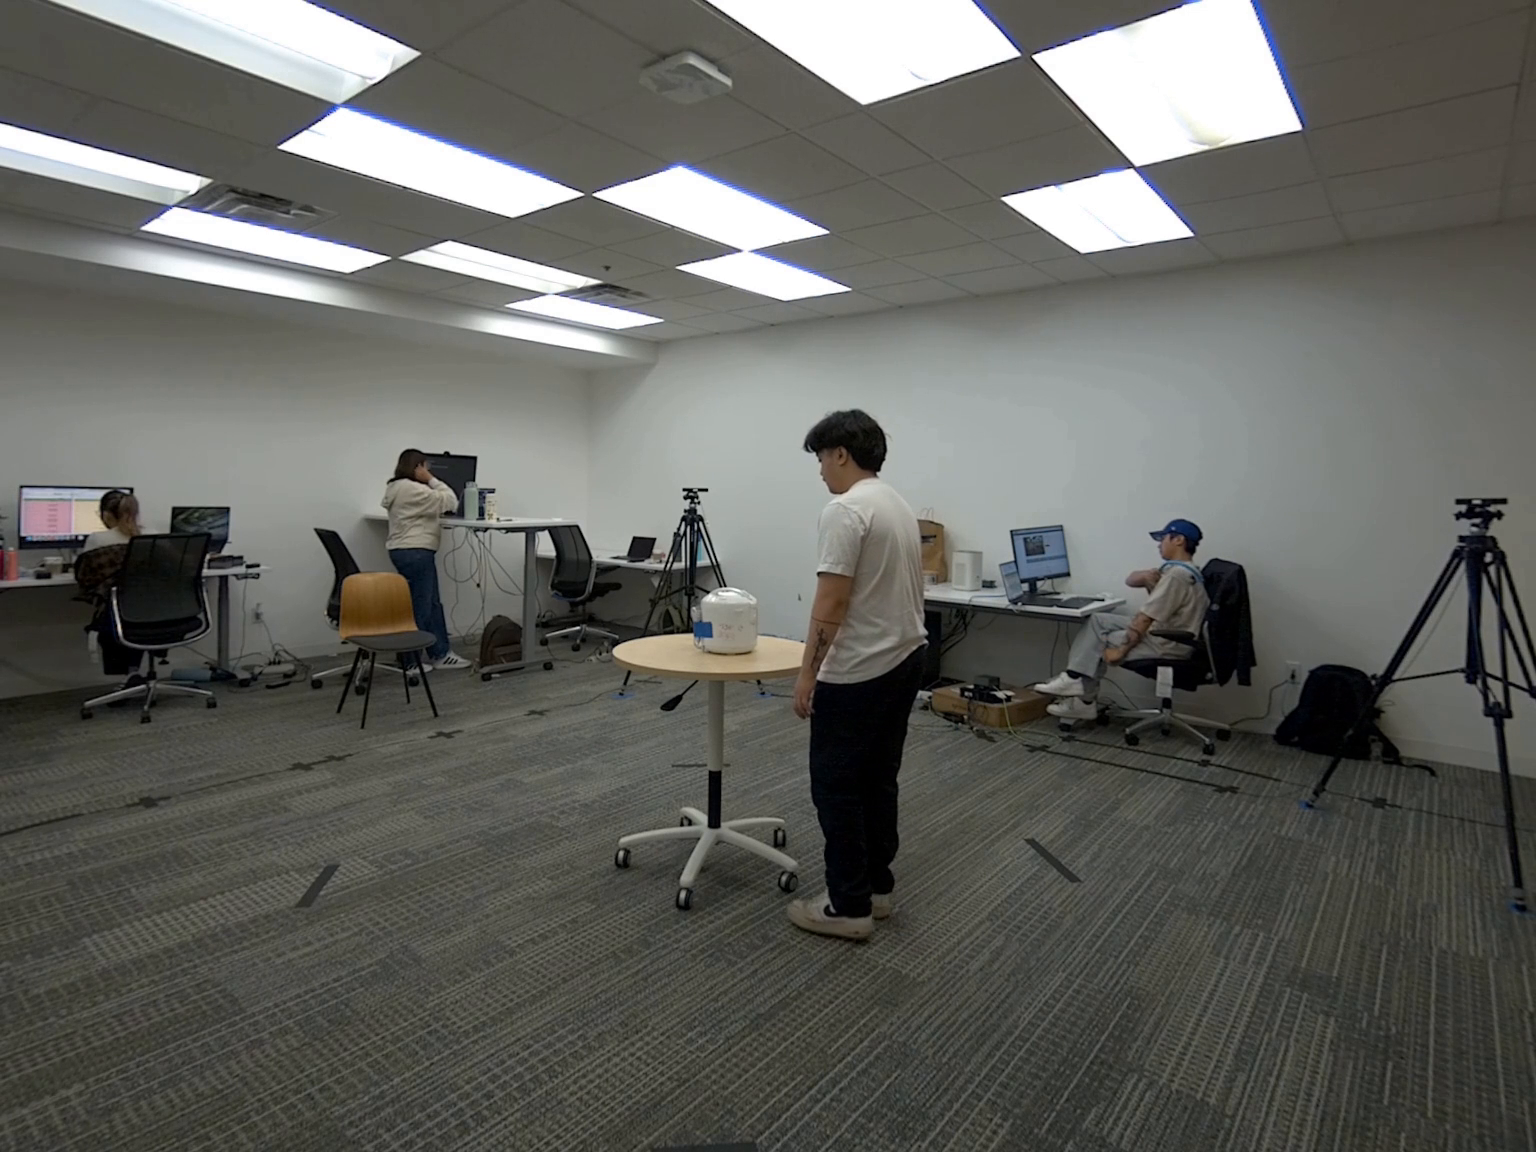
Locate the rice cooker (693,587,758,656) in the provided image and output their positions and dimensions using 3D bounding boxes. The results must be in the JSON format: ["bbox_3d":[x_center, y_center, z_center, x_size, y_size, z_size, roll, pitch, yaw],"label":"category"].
[{"bbox_3d":[-0.151,0.153,3.124,0.227,0.232,0.212,3,5,31],"label":"rice cooker"}]
